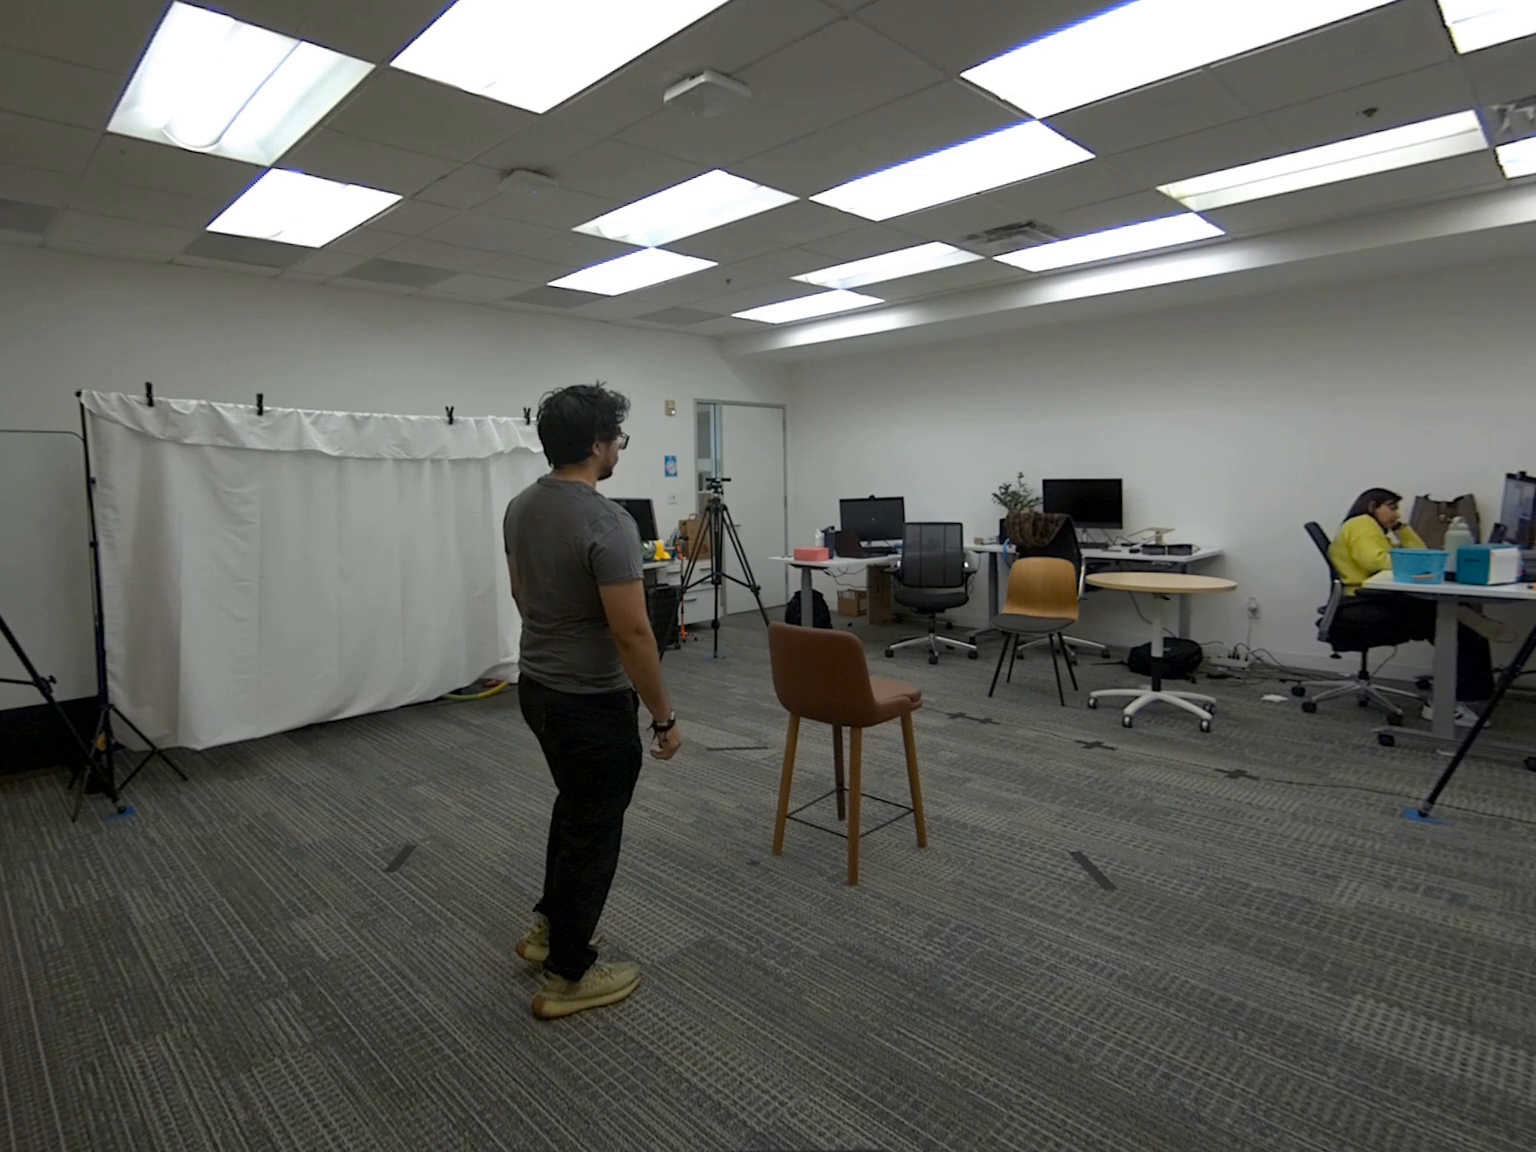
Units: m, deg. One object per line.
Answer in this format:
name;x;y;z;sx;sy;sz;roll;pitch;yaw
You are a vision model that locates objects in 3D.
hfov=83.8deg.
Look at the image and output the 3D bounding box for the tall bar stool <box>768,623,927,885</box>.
tall bar stool;0.292;0.594;3.177;0.470;0.885;0.456;3;7;44
